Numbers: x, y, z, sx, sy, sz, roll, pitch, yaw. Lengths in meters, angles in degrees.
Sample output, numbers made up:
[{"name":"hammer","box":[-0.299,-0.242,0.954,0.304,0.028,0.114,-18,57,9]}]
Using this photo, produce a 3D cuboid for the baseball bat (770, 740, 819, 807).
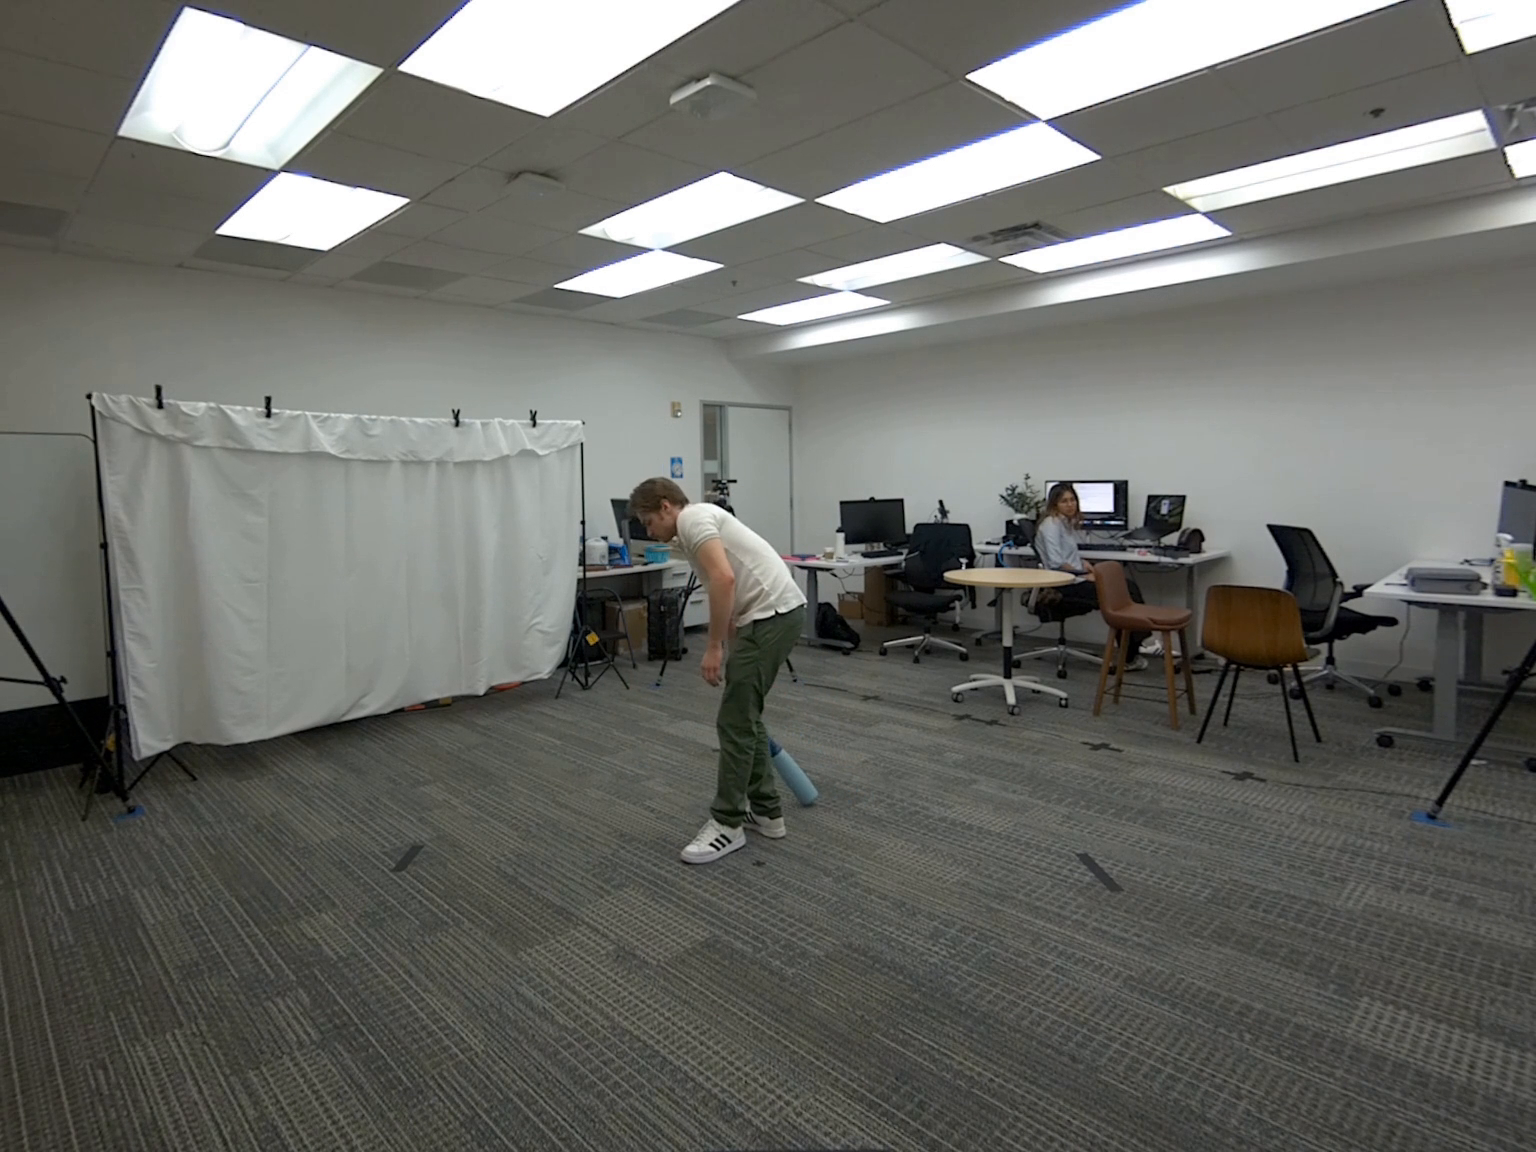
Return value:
[{"name":"baseball bat","box":[0.025,0.752,3.684,0.089,0.548,0.088,-36,-7,-5]}]
